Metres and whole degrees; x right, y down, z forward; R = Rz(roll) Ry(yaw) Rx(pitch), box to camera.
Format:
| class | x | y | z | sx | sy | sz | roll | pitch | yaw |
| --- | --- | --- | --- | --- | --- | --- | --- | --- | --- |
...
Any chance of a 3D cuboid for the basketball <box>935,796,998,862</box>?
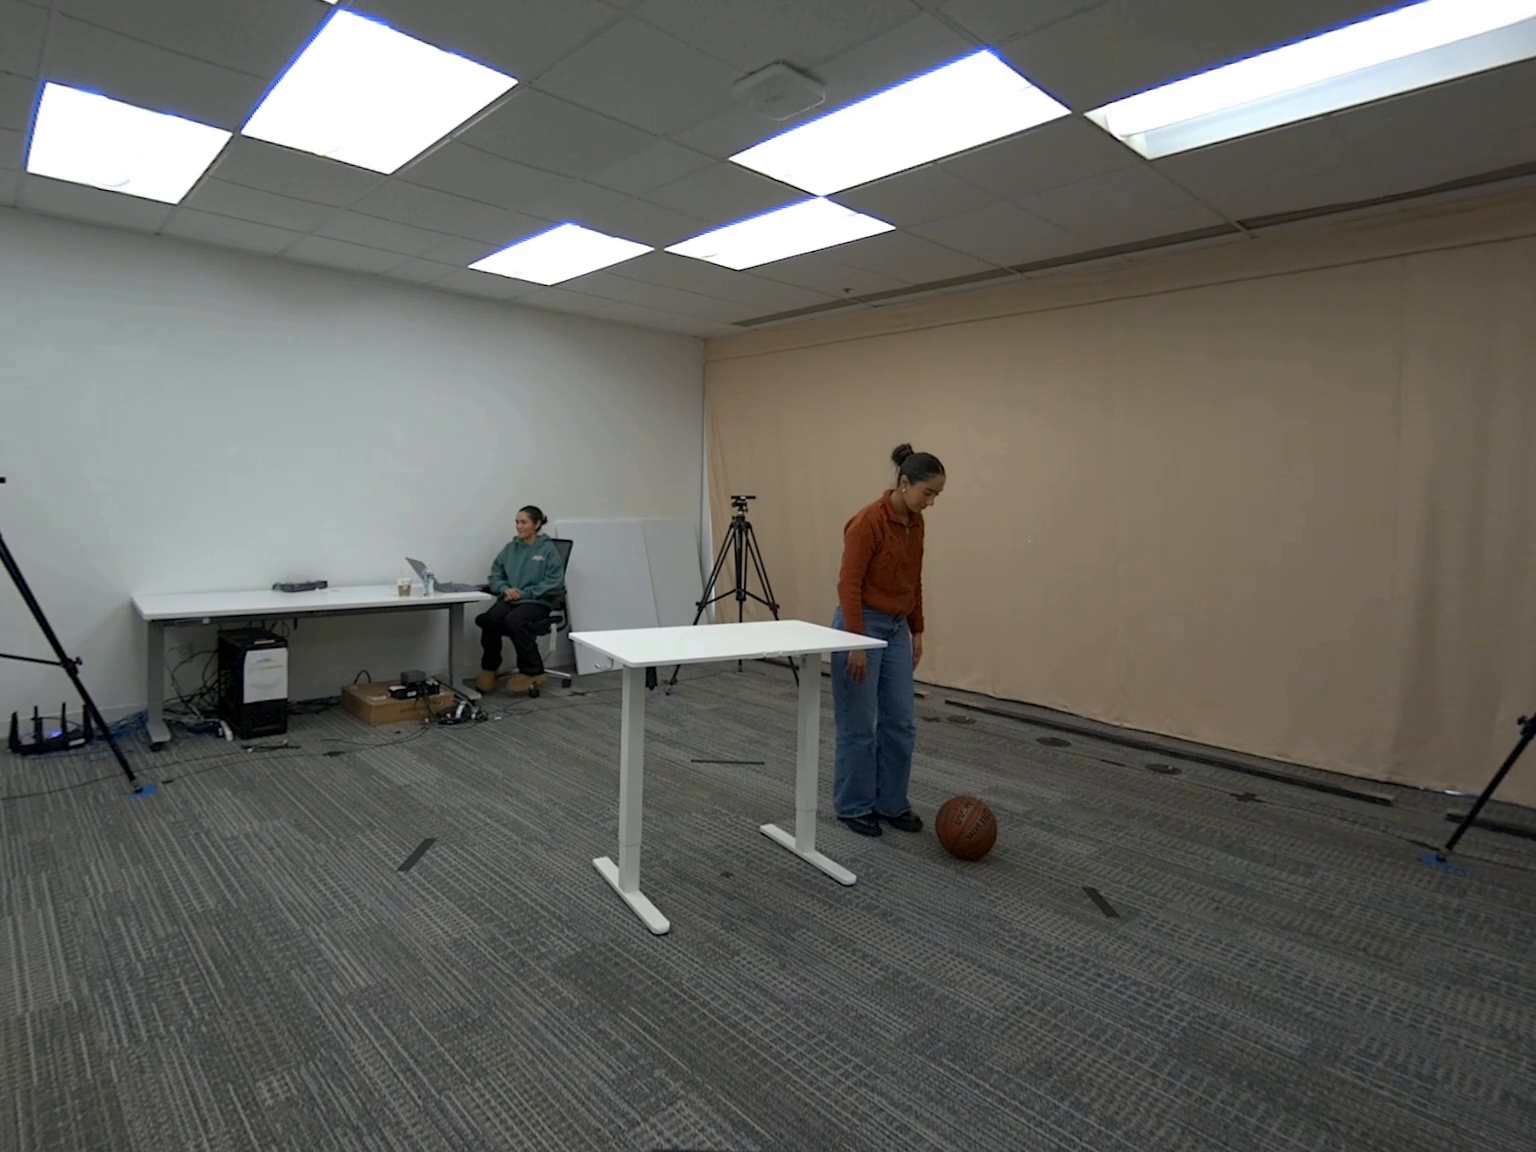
| class | x | y | z | sx | sy | sz | roll | pitch | yaw |
| --- | --- | --- | --- | --- | --- | --- | --- | --- | --- |
| basketball | 0.767 | 0.979 | 3.311 | 0.236 | 0.235 | 0.237 | 1 | 4 | -1 |
